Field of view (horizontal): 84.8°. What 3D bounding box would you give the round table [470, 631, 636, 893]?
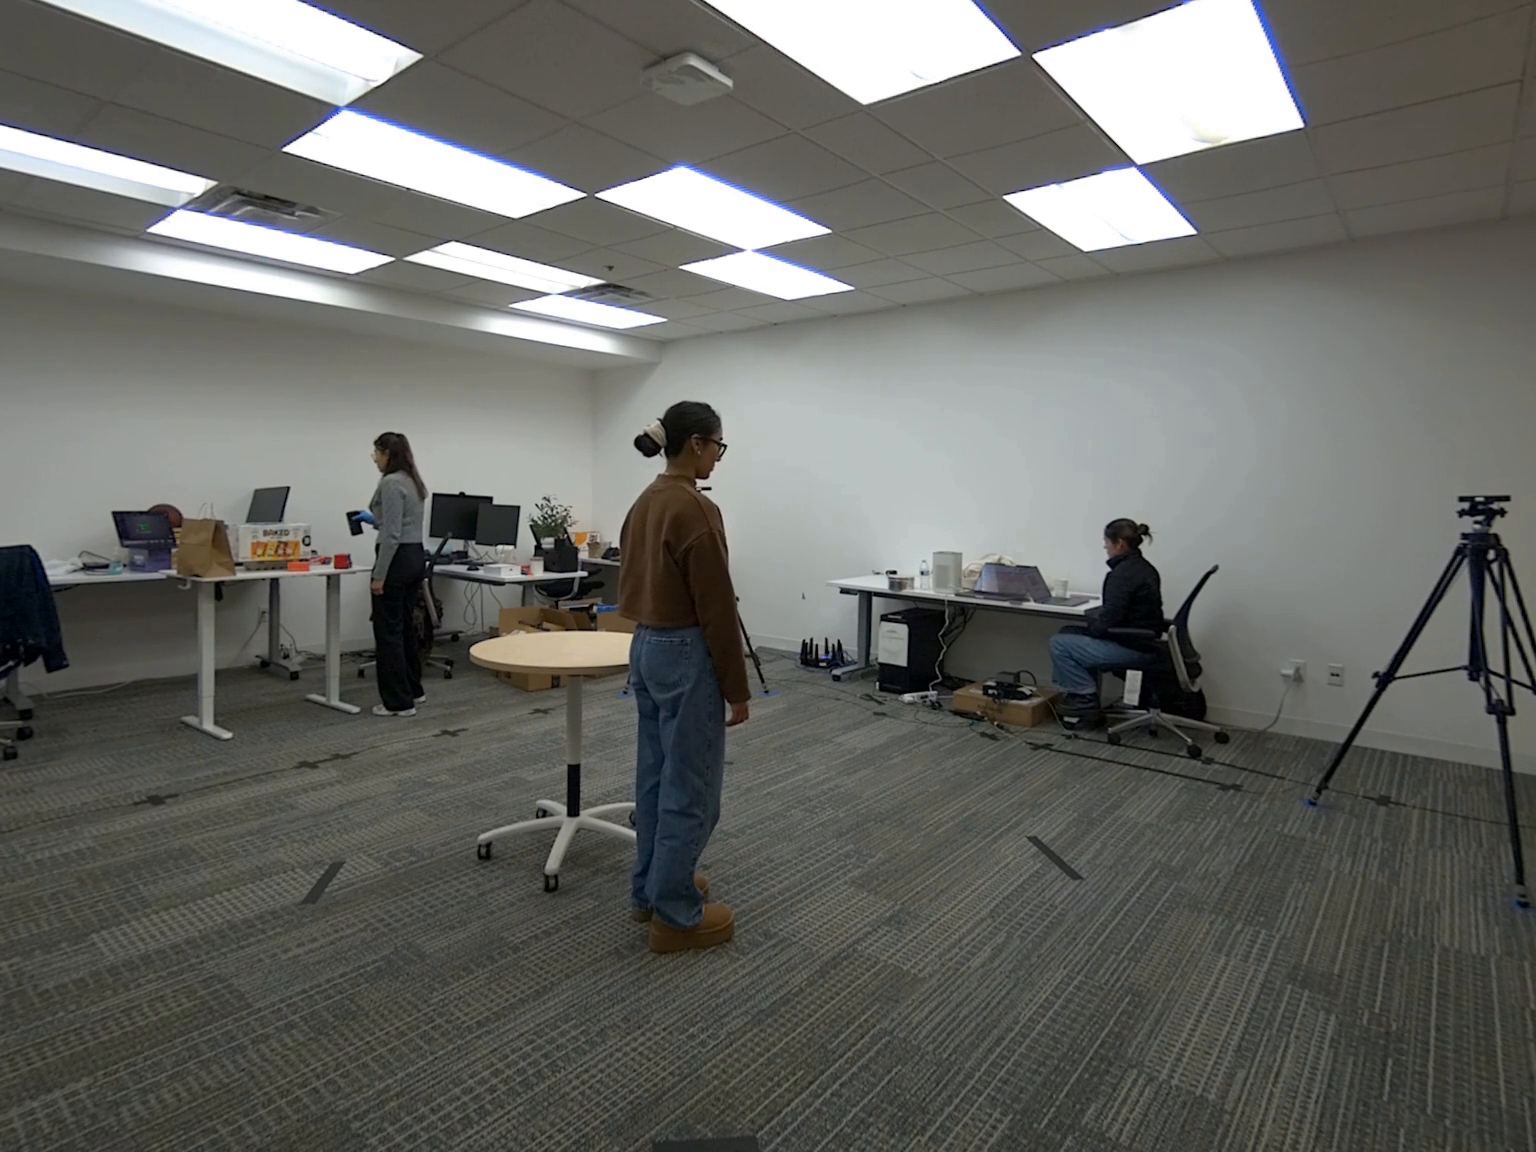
[{"bbox_3d":[-0.748,0.659,3.218,0.763,0.792,0.767,1,4,-2],"label":"round table"}]
